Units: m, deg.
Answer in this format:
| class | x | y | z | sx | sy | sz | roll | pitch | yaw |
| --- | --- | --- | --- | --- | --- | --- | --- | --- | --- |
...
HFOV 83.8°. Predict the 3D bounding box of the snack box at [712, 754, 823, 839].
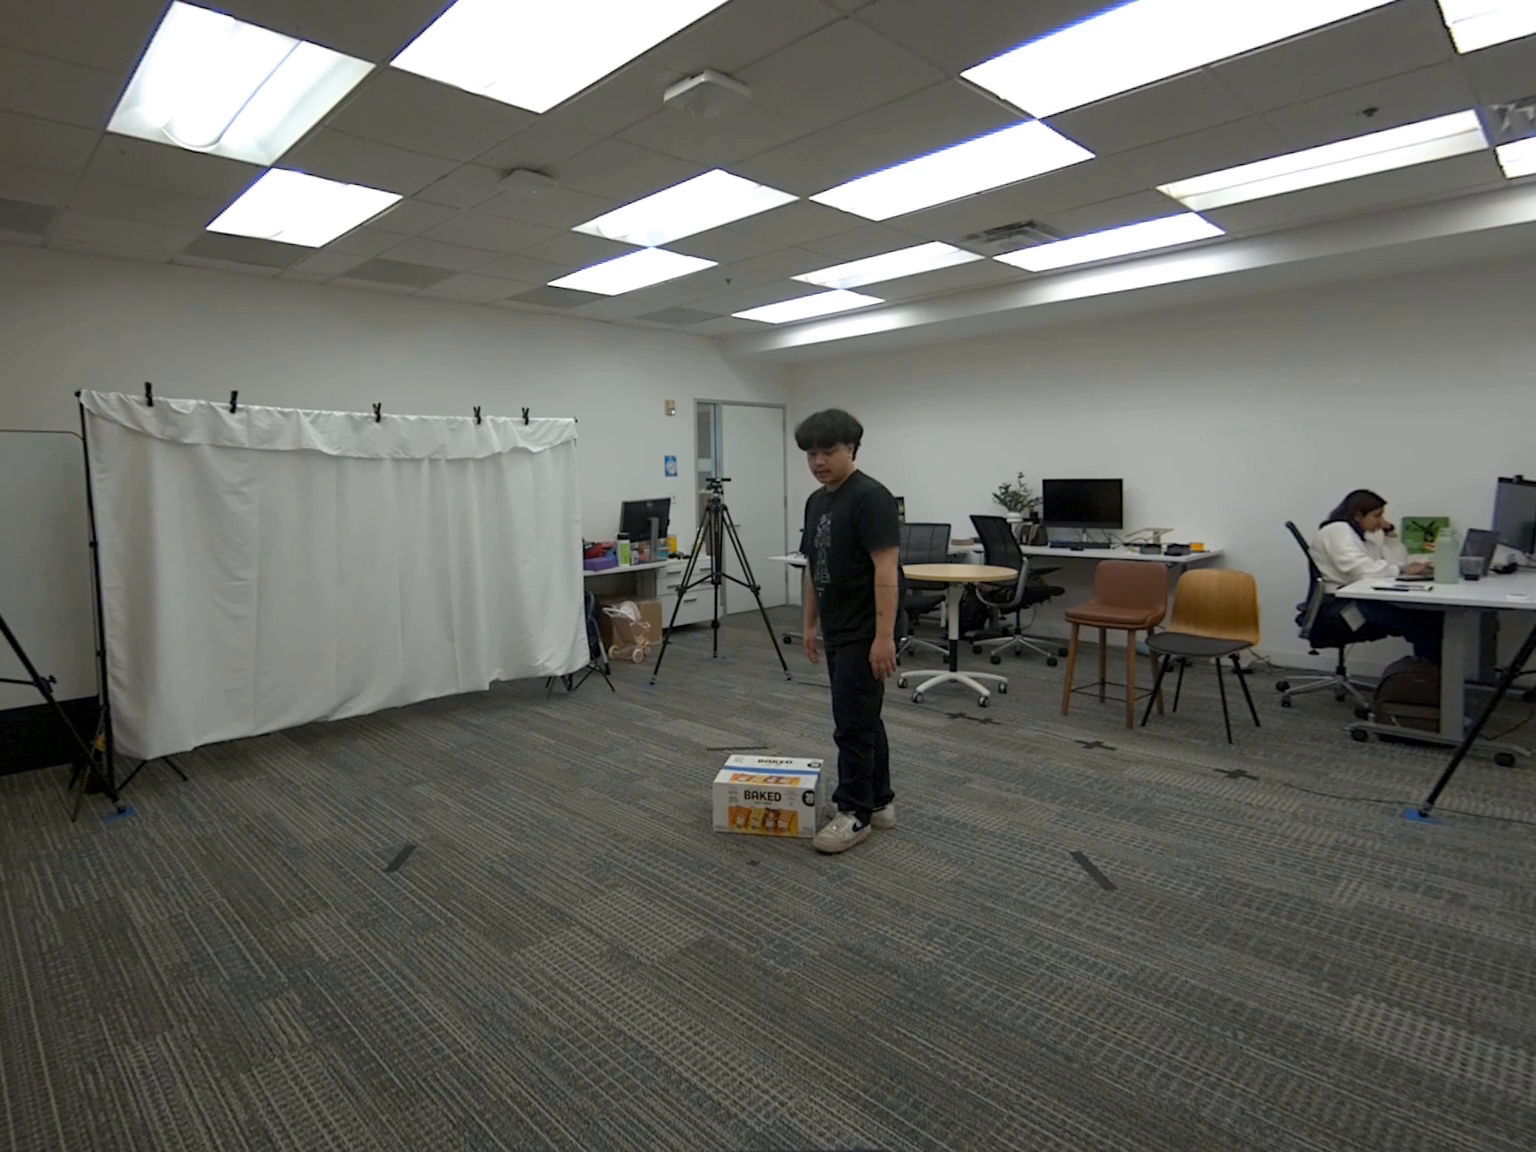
| class | x | y | z | sx | sy | sz | roll | pitch | yaw |
| --- | --- | --- | --- | --- | --- | --- | --- | --- | --- |
| snack box | 0.013 | 0.892 | 3.497 | 0.410 | 0.205 | 0.338 | 0 | 6 | 11 |
